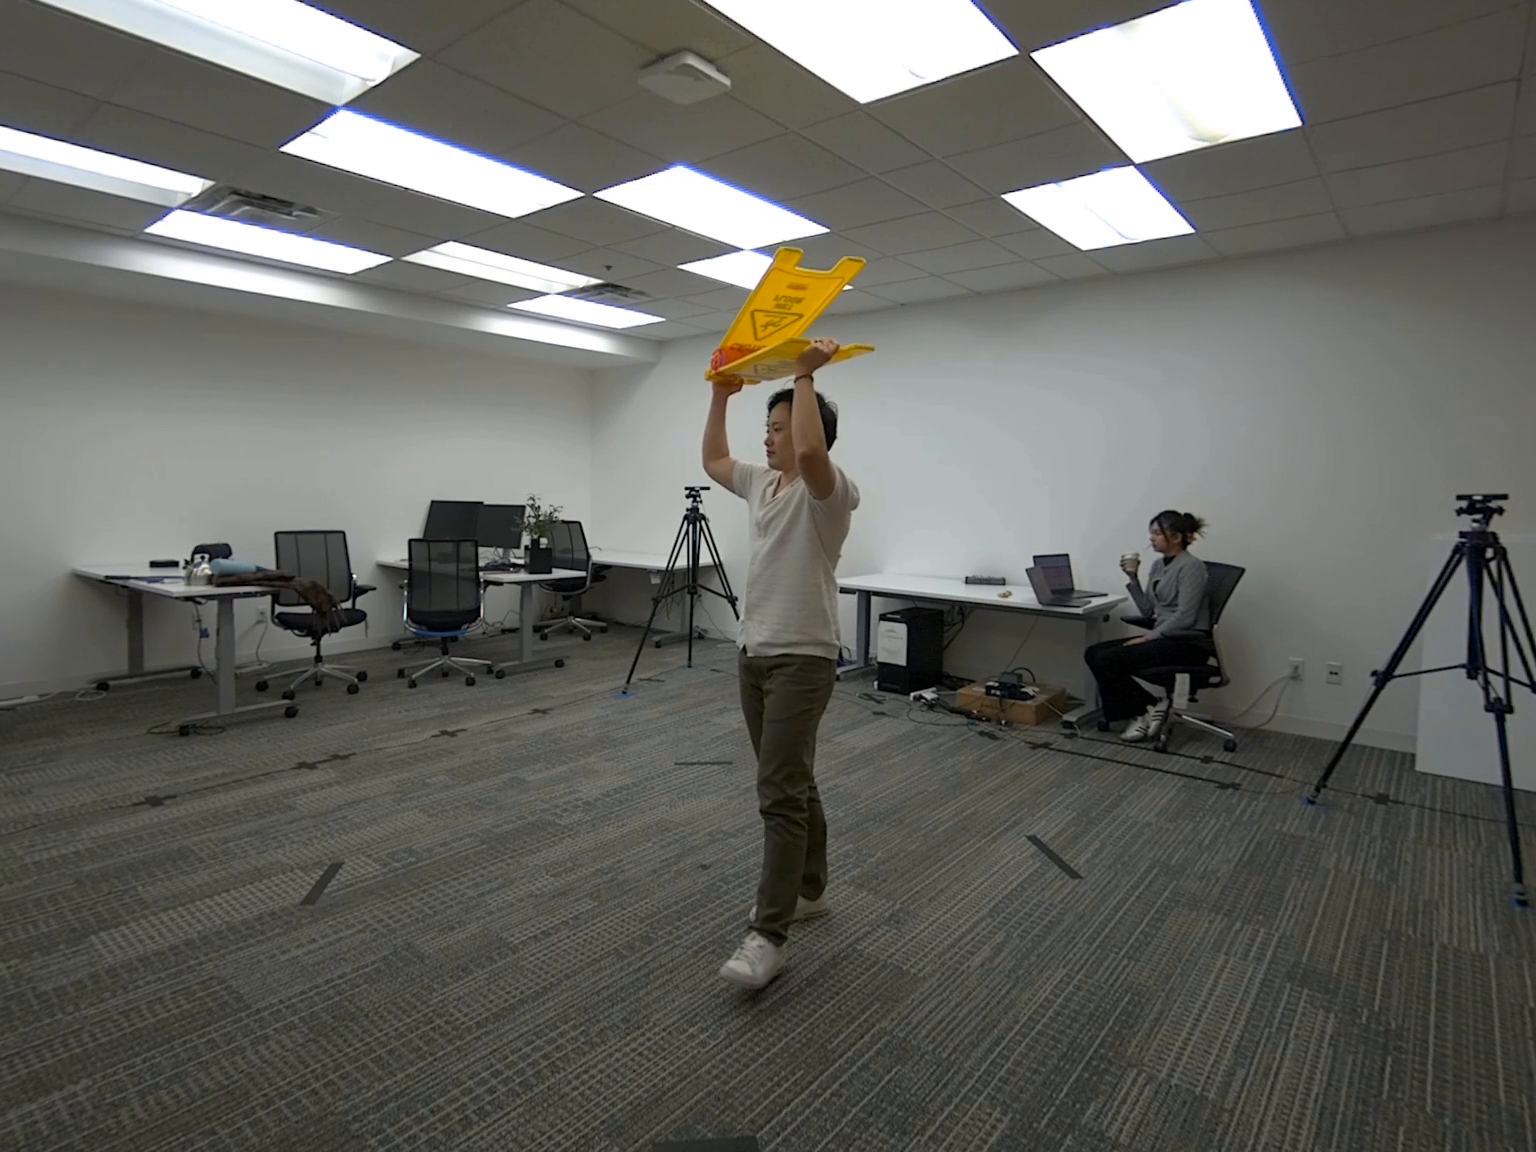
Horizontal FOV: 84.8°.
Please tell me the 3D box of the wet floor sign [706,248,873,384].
[{"bbox_3d":[0.007,-0.708,2.592,0.275,0.292,0.656,-1,-8,-26],"label":"wet floor sign"}]
